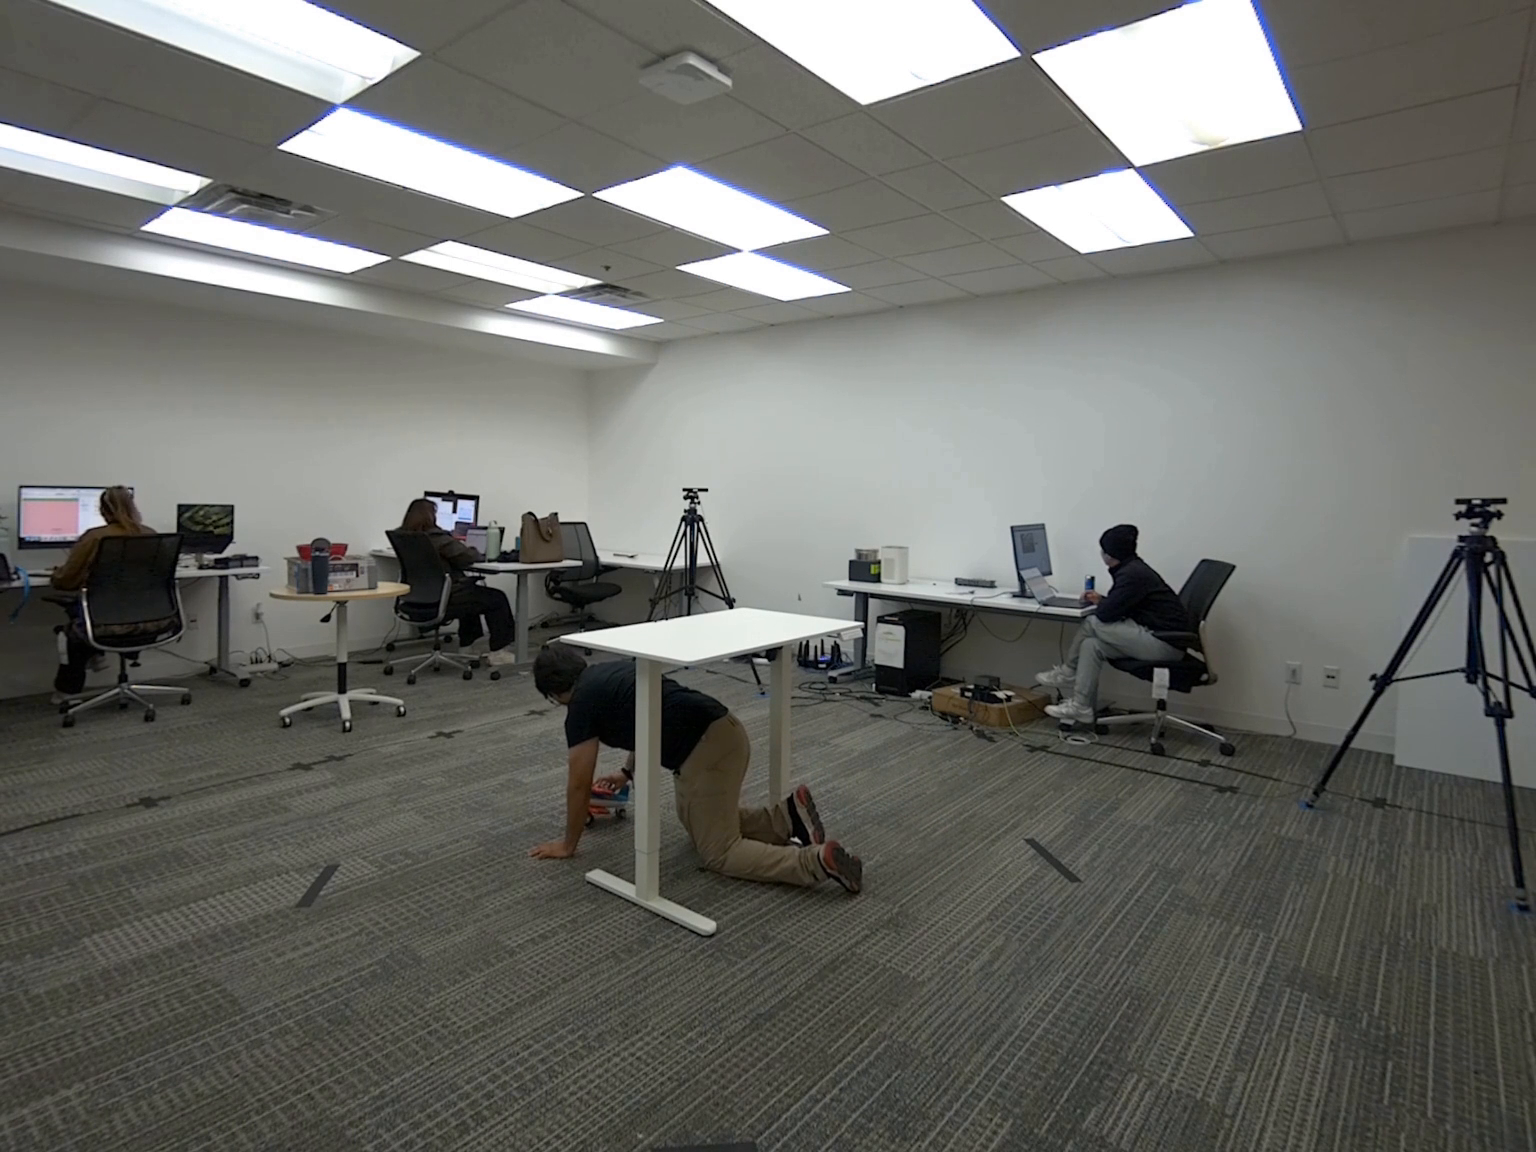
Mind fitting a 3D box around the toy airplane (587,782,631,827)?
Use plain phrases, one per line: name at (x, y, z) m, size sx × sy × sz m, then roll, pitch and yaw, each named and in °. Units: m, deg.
toy airplane at (-0.720, 0.944, 3.561) m, size 0.258 × 0.157 × 0.252 m, roll -4°, pitch -1°, yaw 31°
